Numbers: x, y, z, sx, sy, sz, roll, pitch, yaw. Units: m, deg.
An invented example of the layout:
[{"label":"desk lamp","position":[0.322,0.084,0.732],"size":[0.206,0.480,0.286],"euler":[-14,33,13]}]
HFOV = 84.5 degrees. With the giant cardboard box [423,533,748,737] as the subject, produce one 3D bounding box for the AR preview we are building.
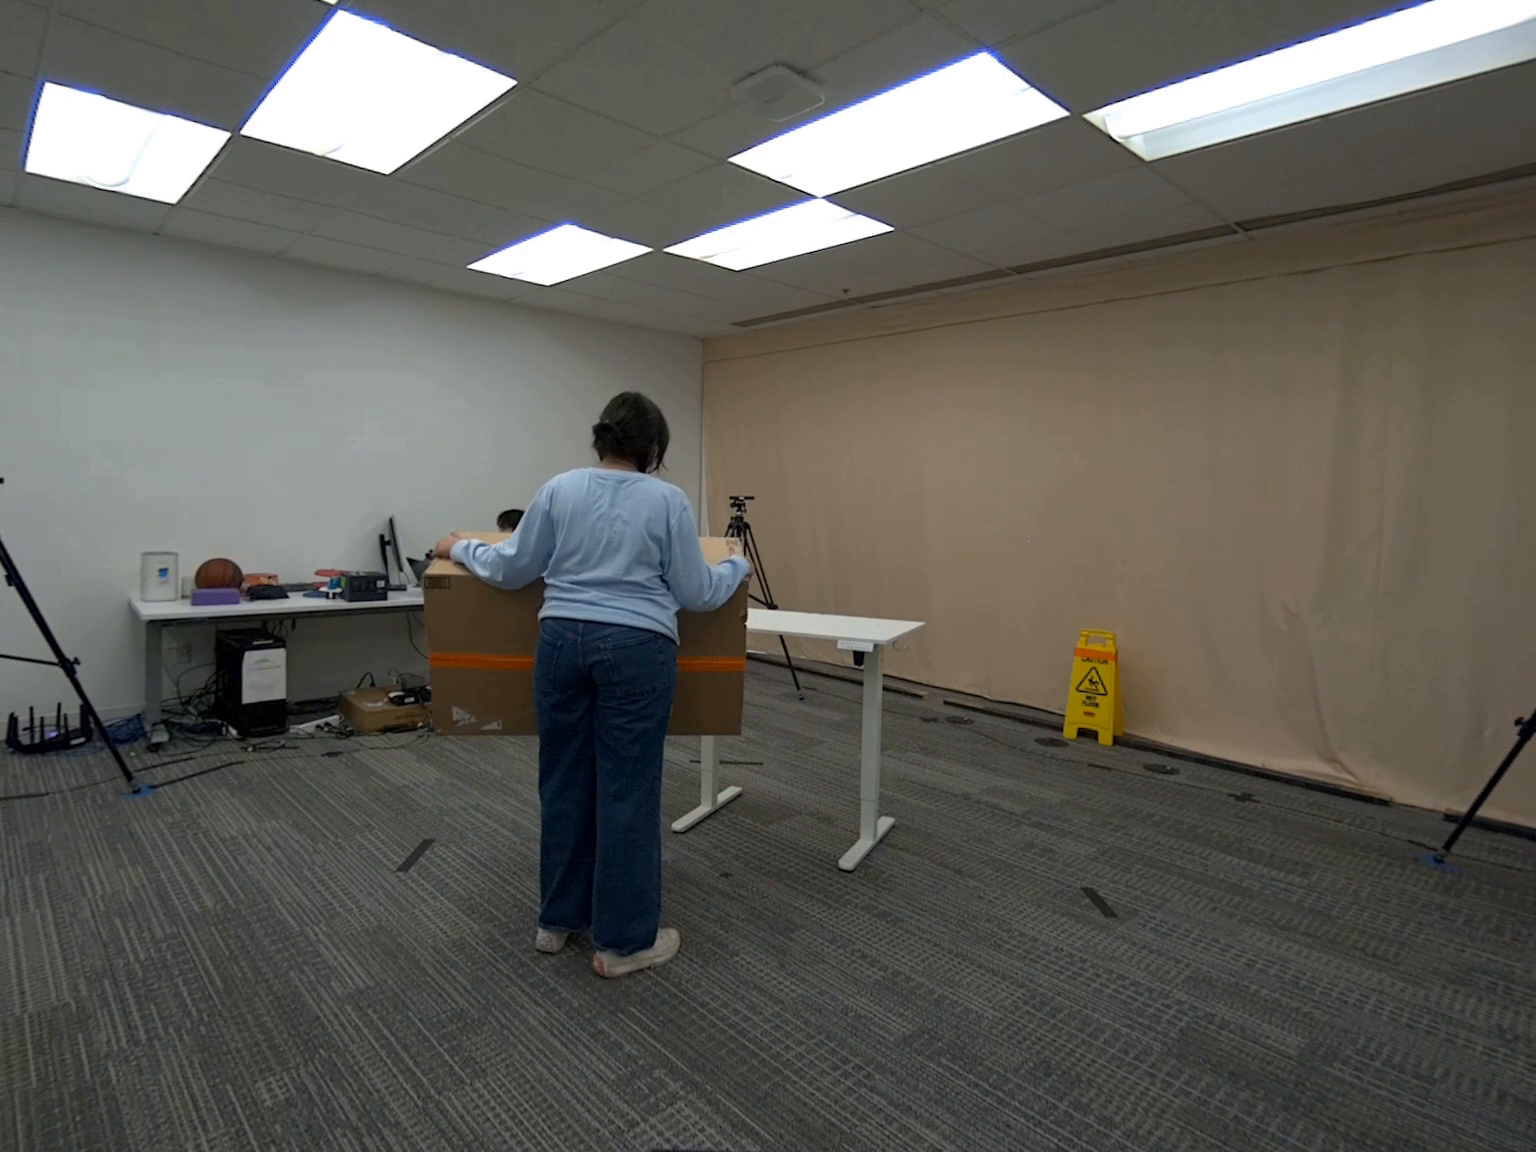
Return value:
[{"label":"giant cardboard box","position":[-0.608,0.194,2.916],"size":[1.022,0.570,0.433],"euler":[1,20,-4]}]
